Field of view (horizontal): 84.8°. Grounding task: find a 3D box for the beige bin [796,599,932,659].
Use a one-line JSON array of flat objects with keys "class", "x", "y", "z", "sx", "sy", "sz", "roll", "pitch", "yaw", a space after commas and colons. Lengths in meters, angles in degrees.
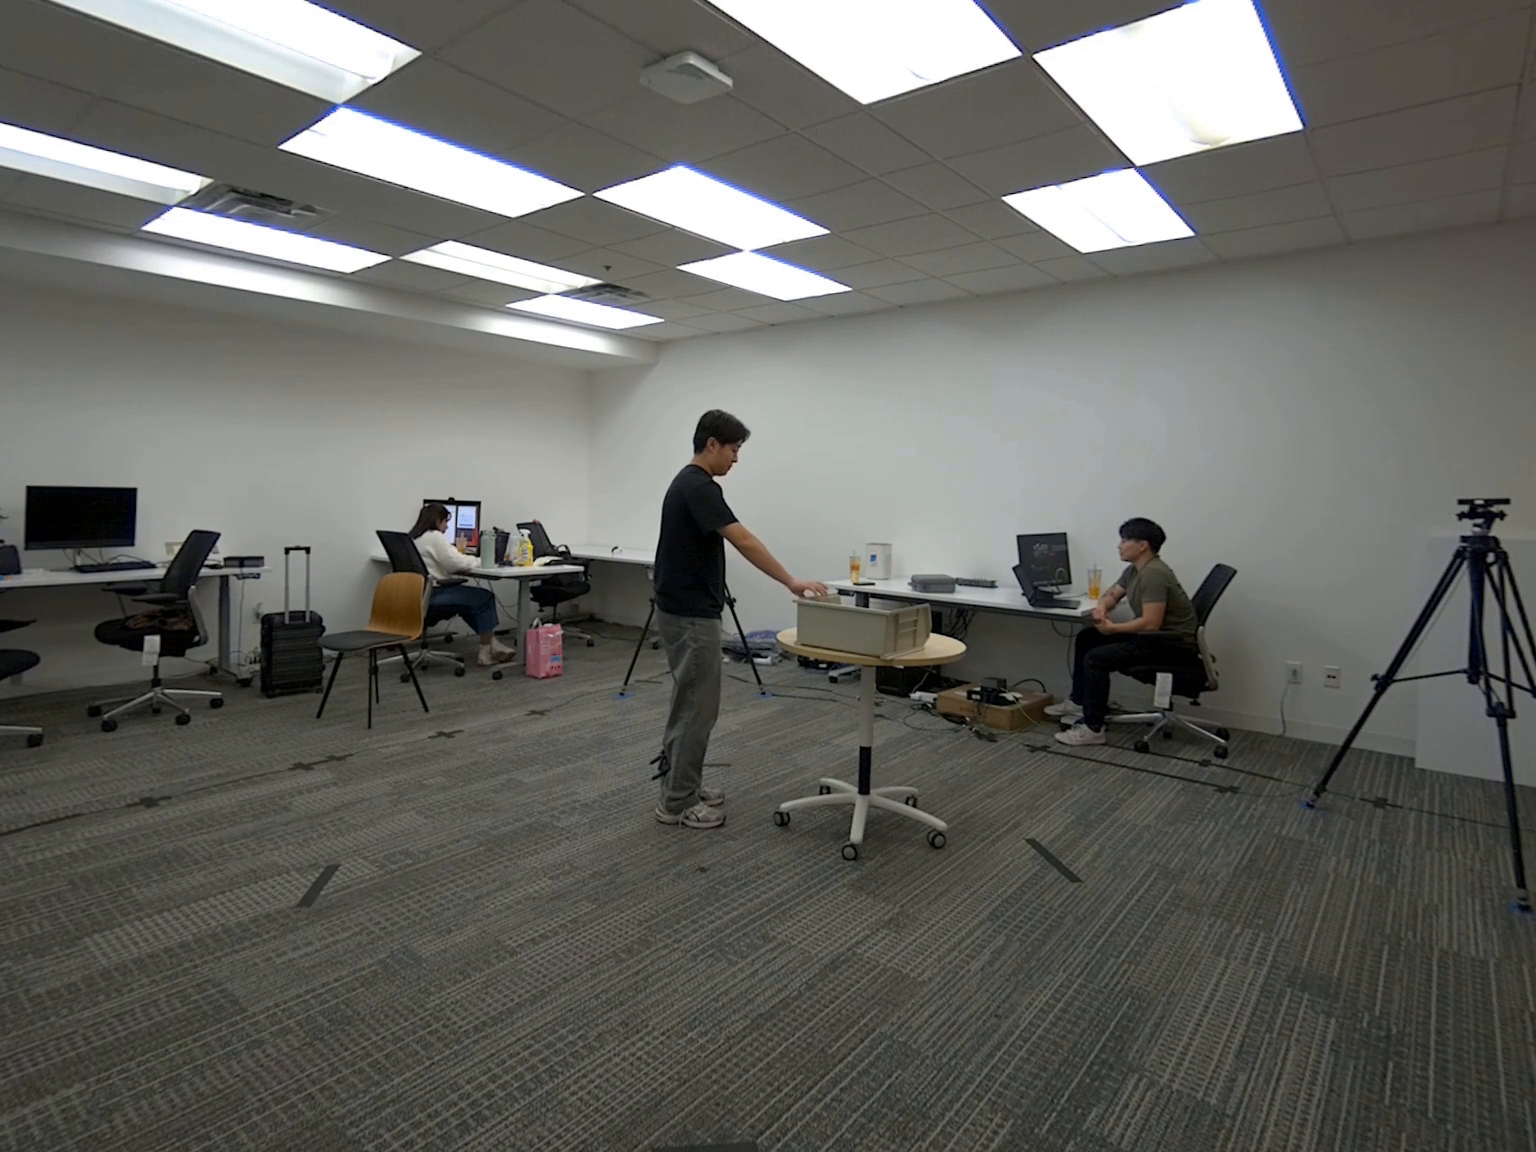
[{"class": "beige bin", "x": 0.362, "y": 0.185, "z": 3.352, "sx": 0.437, "sy": 0.188, "sz": 0.367, "roll": 6, "pitch": 8, "yaw": 38}]
